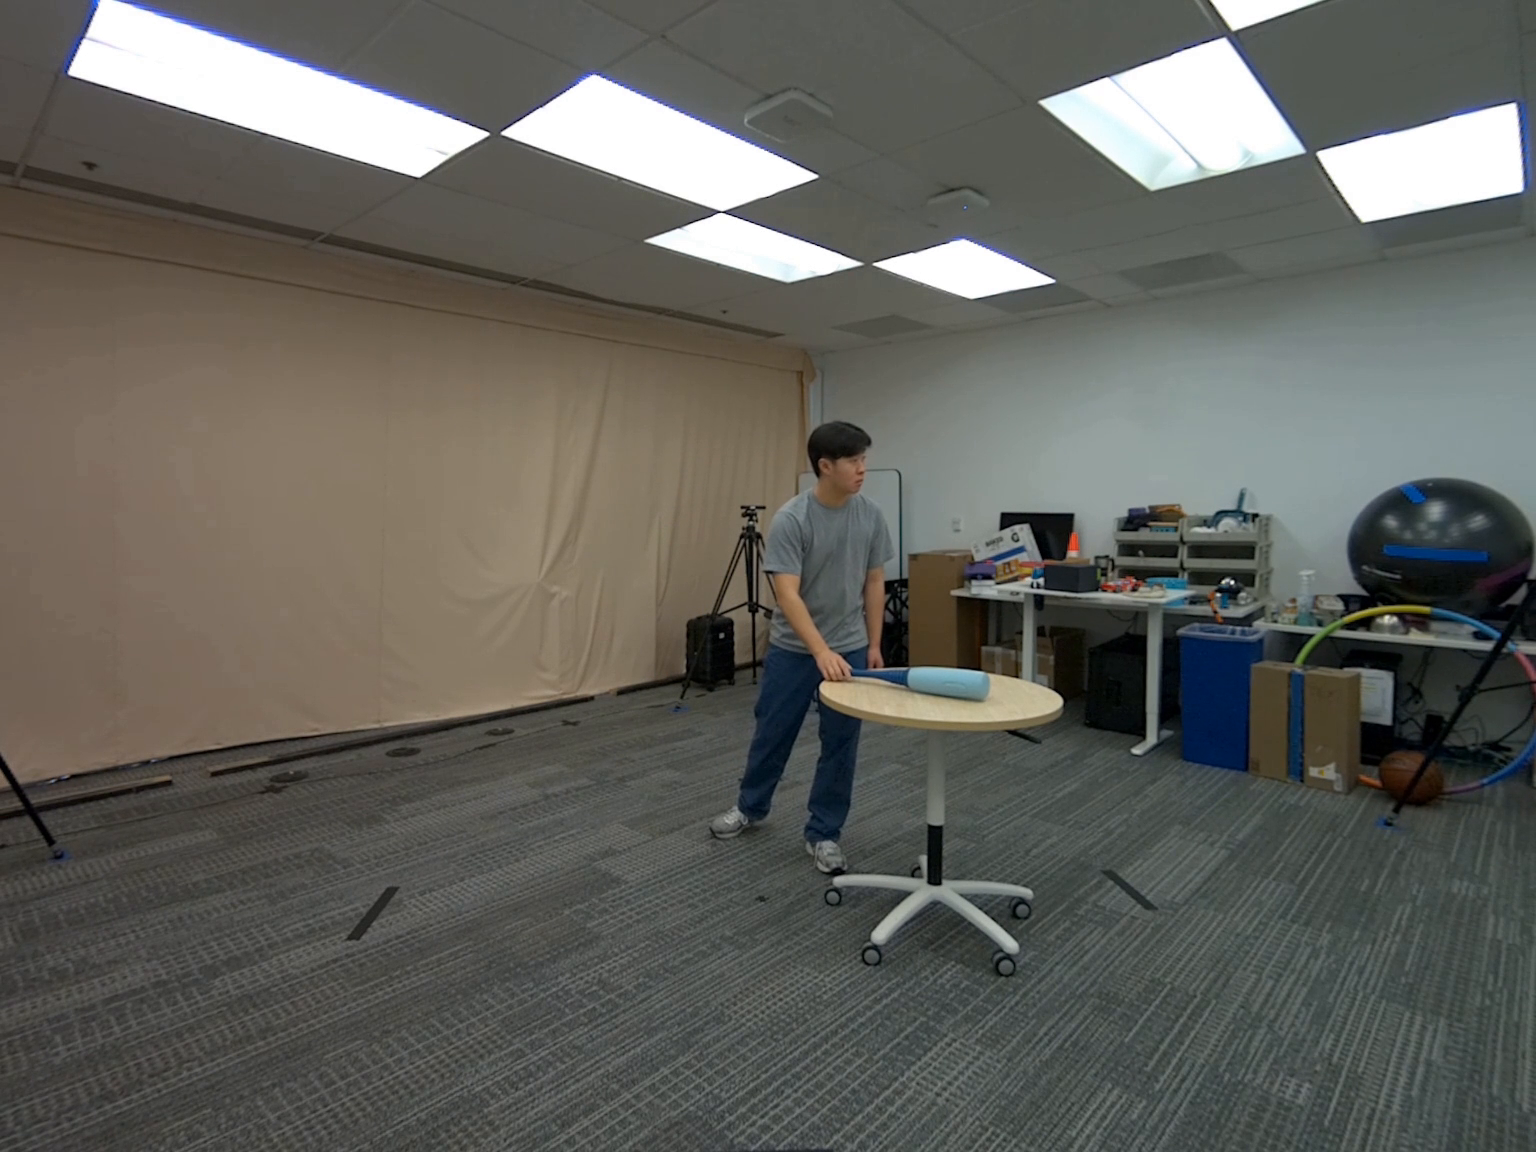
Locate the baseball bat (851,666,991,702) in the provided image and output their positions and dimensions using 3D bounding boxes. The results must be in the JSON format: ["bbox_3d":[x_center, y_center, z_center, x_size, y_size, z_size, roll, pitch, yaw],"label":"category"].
[{"bbox_3d":[0.447,0.336,2.774,0.560,0.089,0.086,2,4,36],"label":"baseball bat"}]
